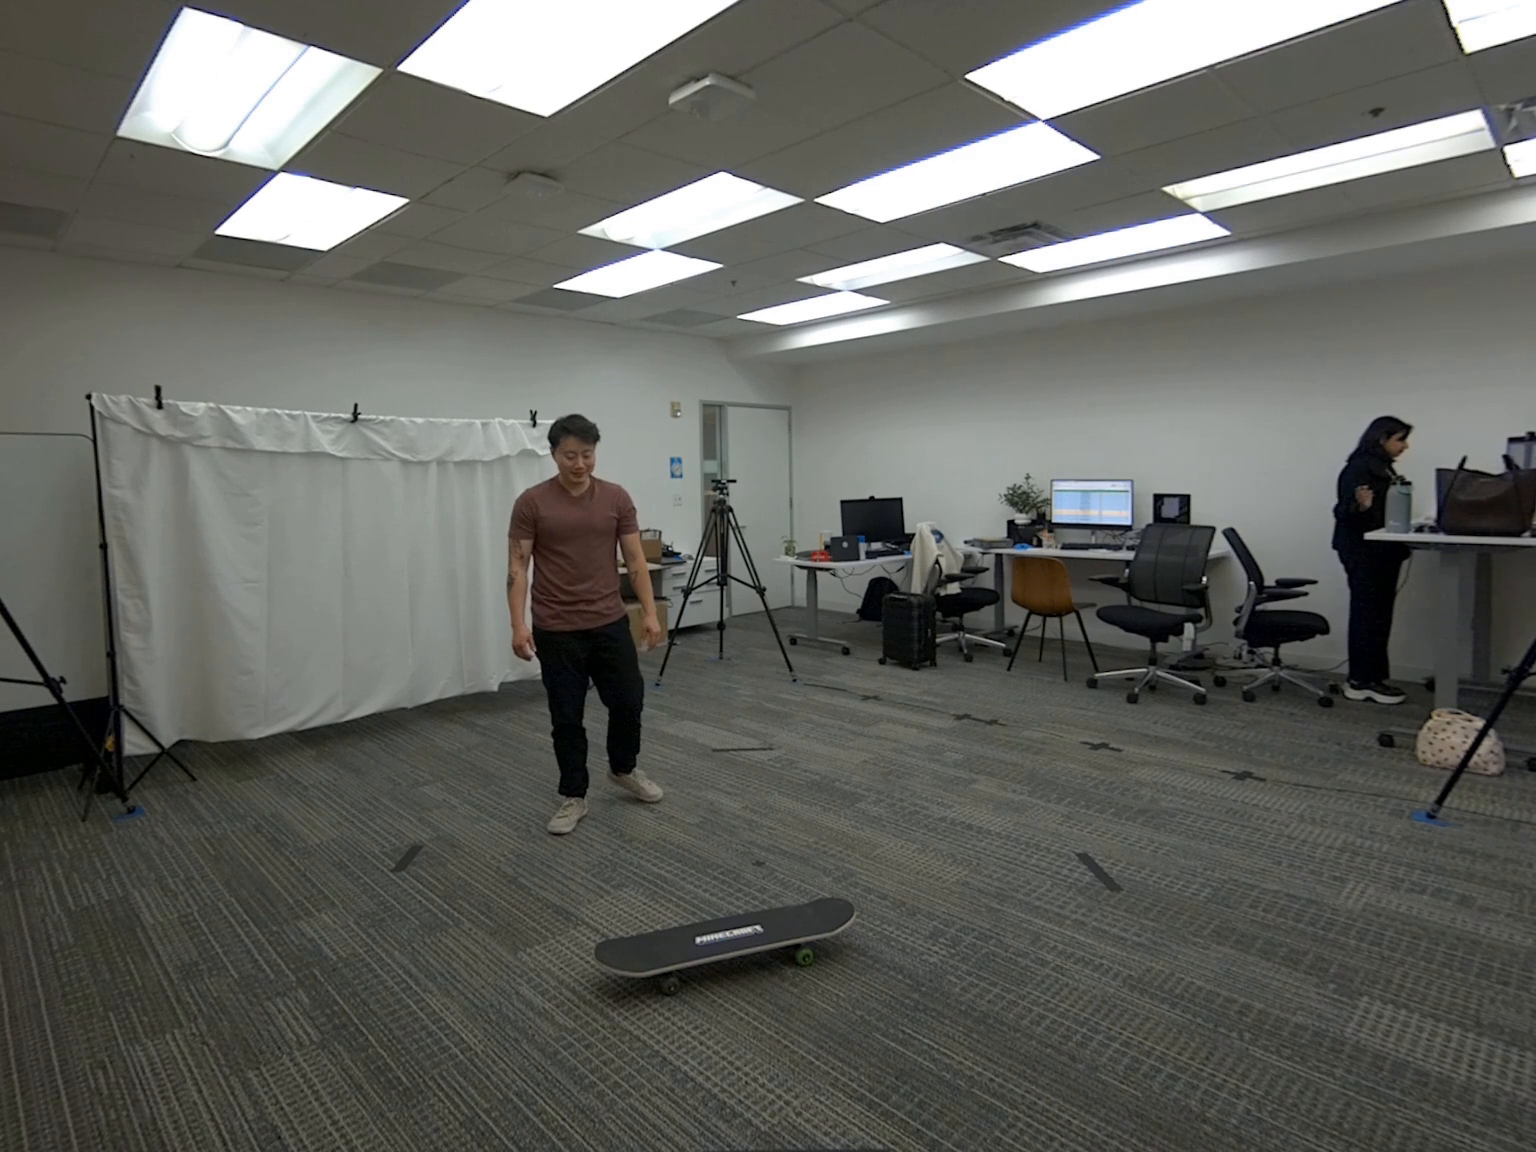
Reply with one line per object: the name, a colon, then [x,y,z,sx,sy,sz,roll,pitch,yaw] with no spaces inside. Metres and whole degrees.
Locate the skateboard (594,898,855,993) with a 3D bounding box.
skateboard: [-0.108,1.067,2.468,0.773,0.110,0.197,-3,7,-18]
